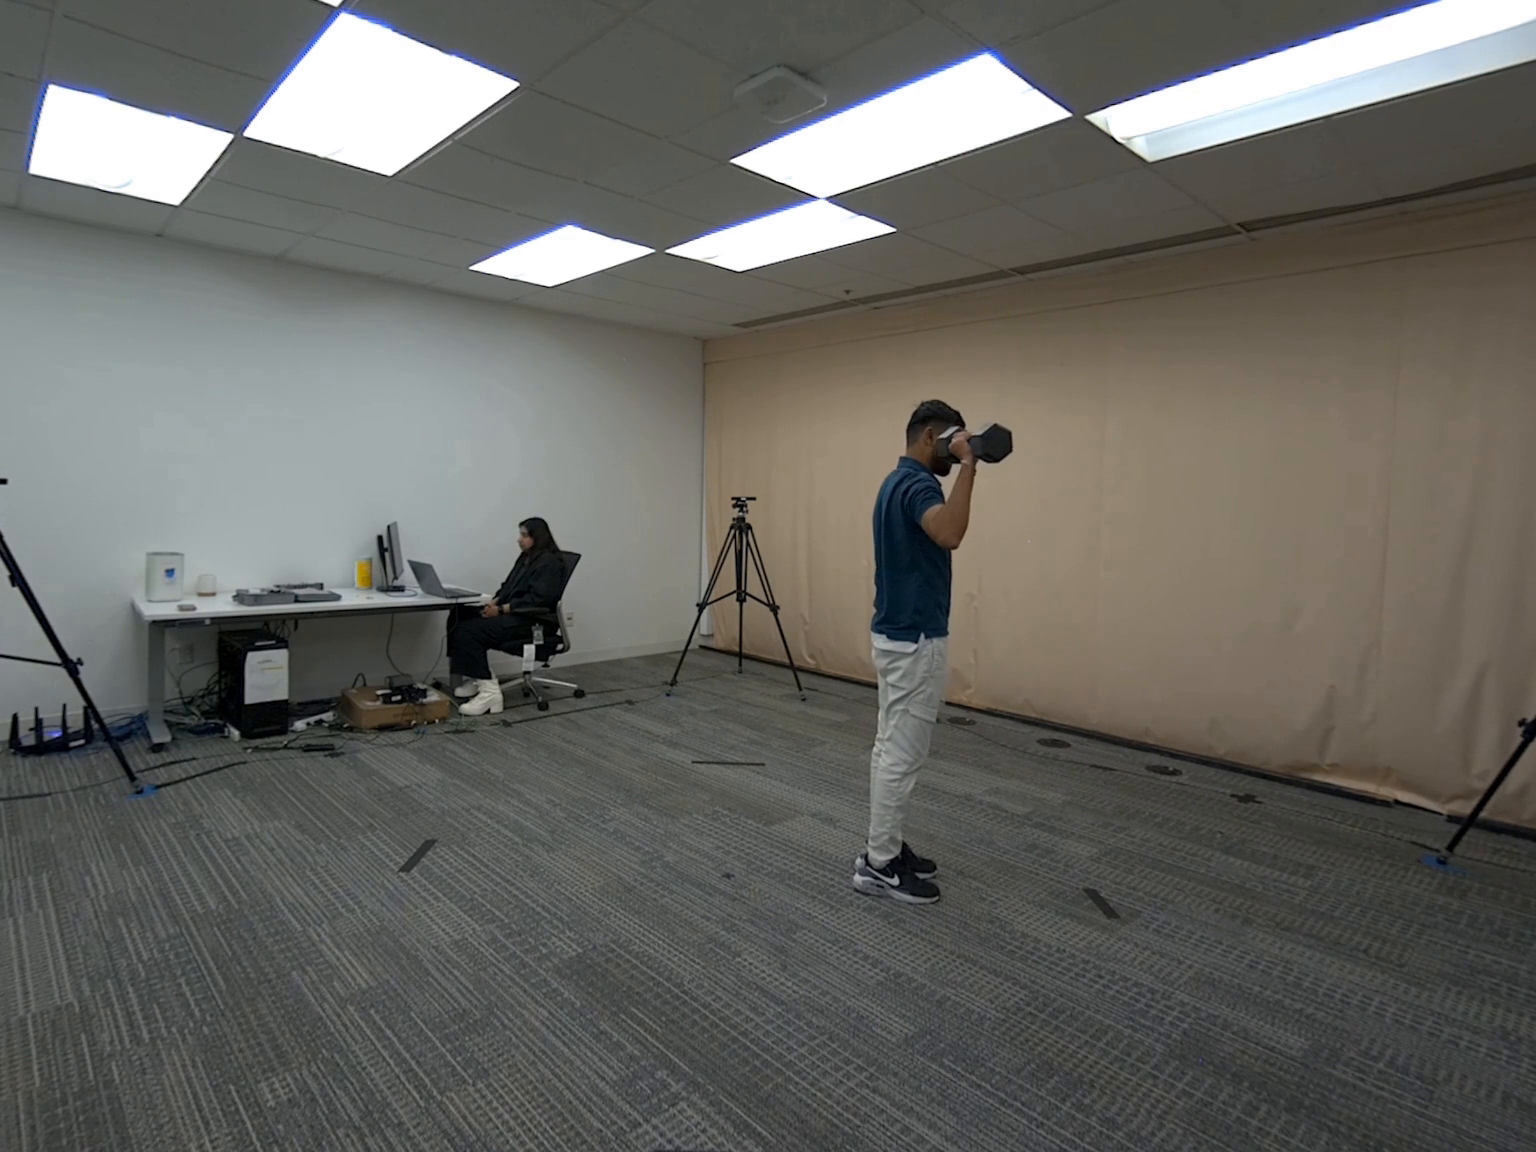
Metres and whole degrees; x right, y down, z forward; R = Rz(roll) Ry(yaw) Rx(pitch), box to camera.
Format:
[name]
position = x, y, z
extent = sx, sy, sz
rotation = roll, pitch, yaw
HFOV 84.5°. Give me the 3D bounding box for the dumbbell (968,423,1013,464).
[dumbbell]
position = 0.640, -0.431, 2.680
extent = 0.121, 0.109, 0.297
rotation = 22, 0, -14
